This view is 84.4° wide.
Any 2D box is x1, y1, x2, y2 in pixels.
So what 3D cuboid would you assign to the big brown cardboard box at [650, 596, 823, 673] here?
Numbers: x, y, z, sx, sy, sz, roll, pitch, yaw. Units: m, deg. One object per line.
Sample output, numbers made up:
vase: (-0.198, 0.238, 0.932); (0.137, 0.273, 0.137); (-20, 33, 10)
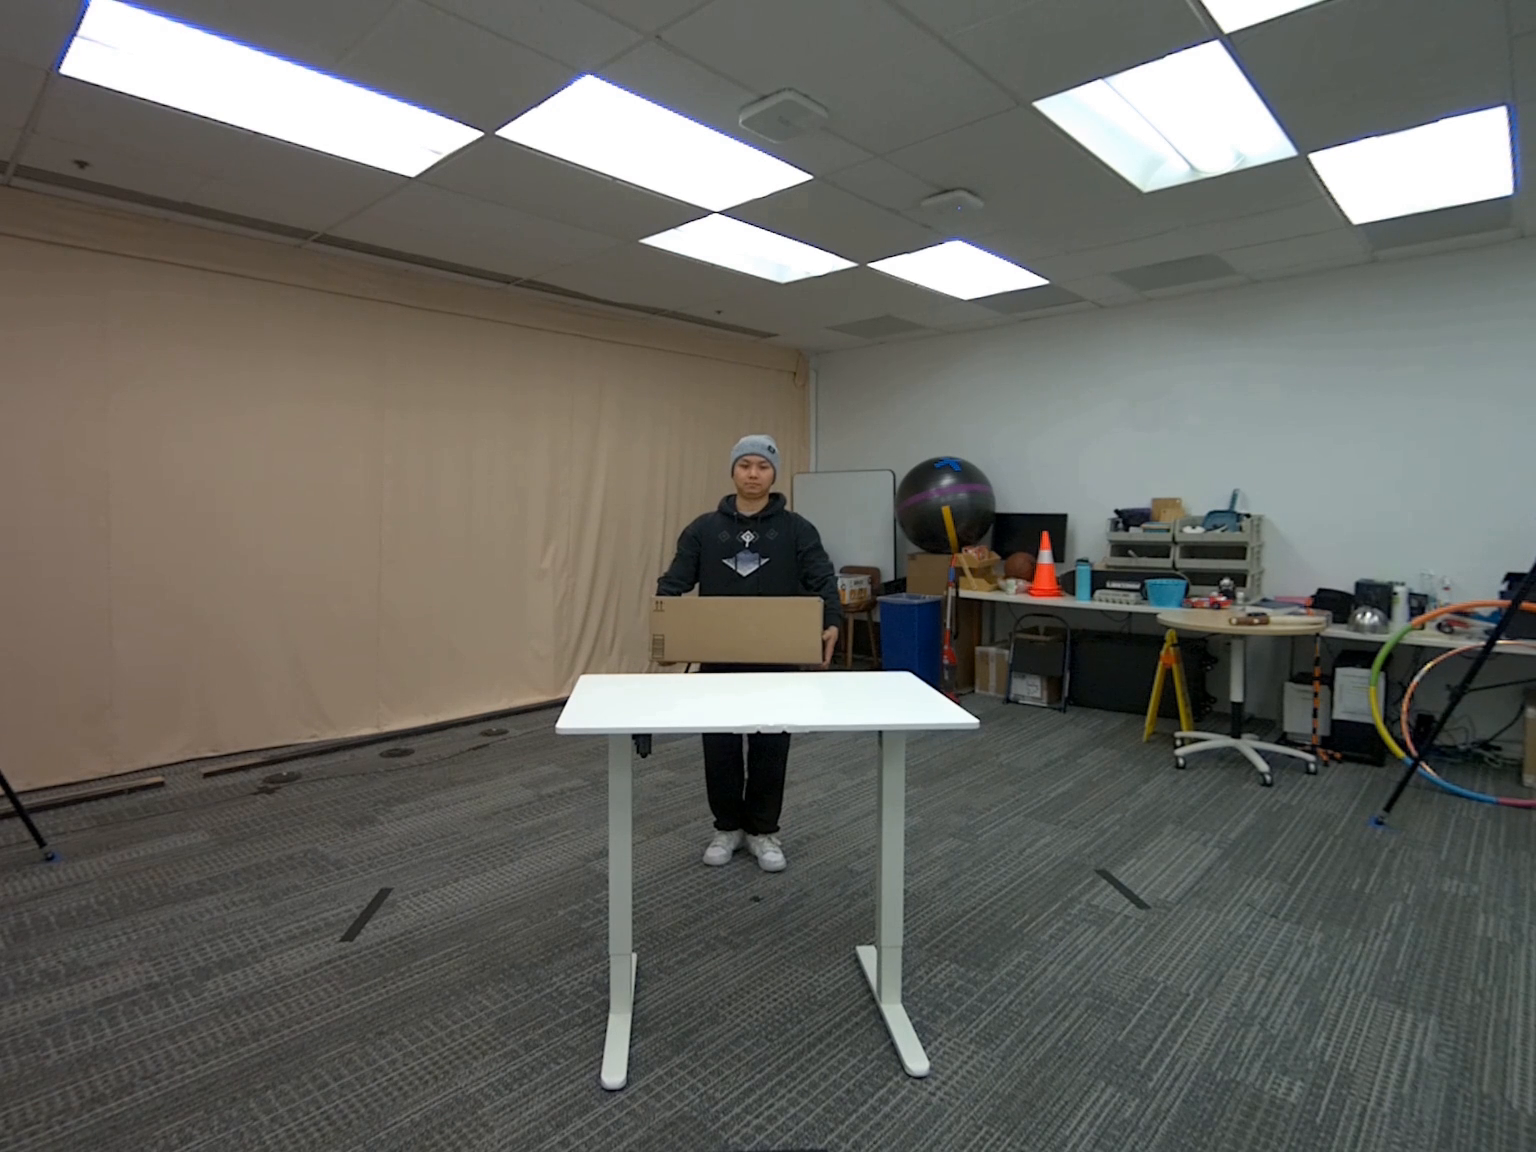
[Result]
big brown cardboard box: (-0.110, 0.187, 2.947); (0.592, 0.234, 0.414); (1, -4, 5)
